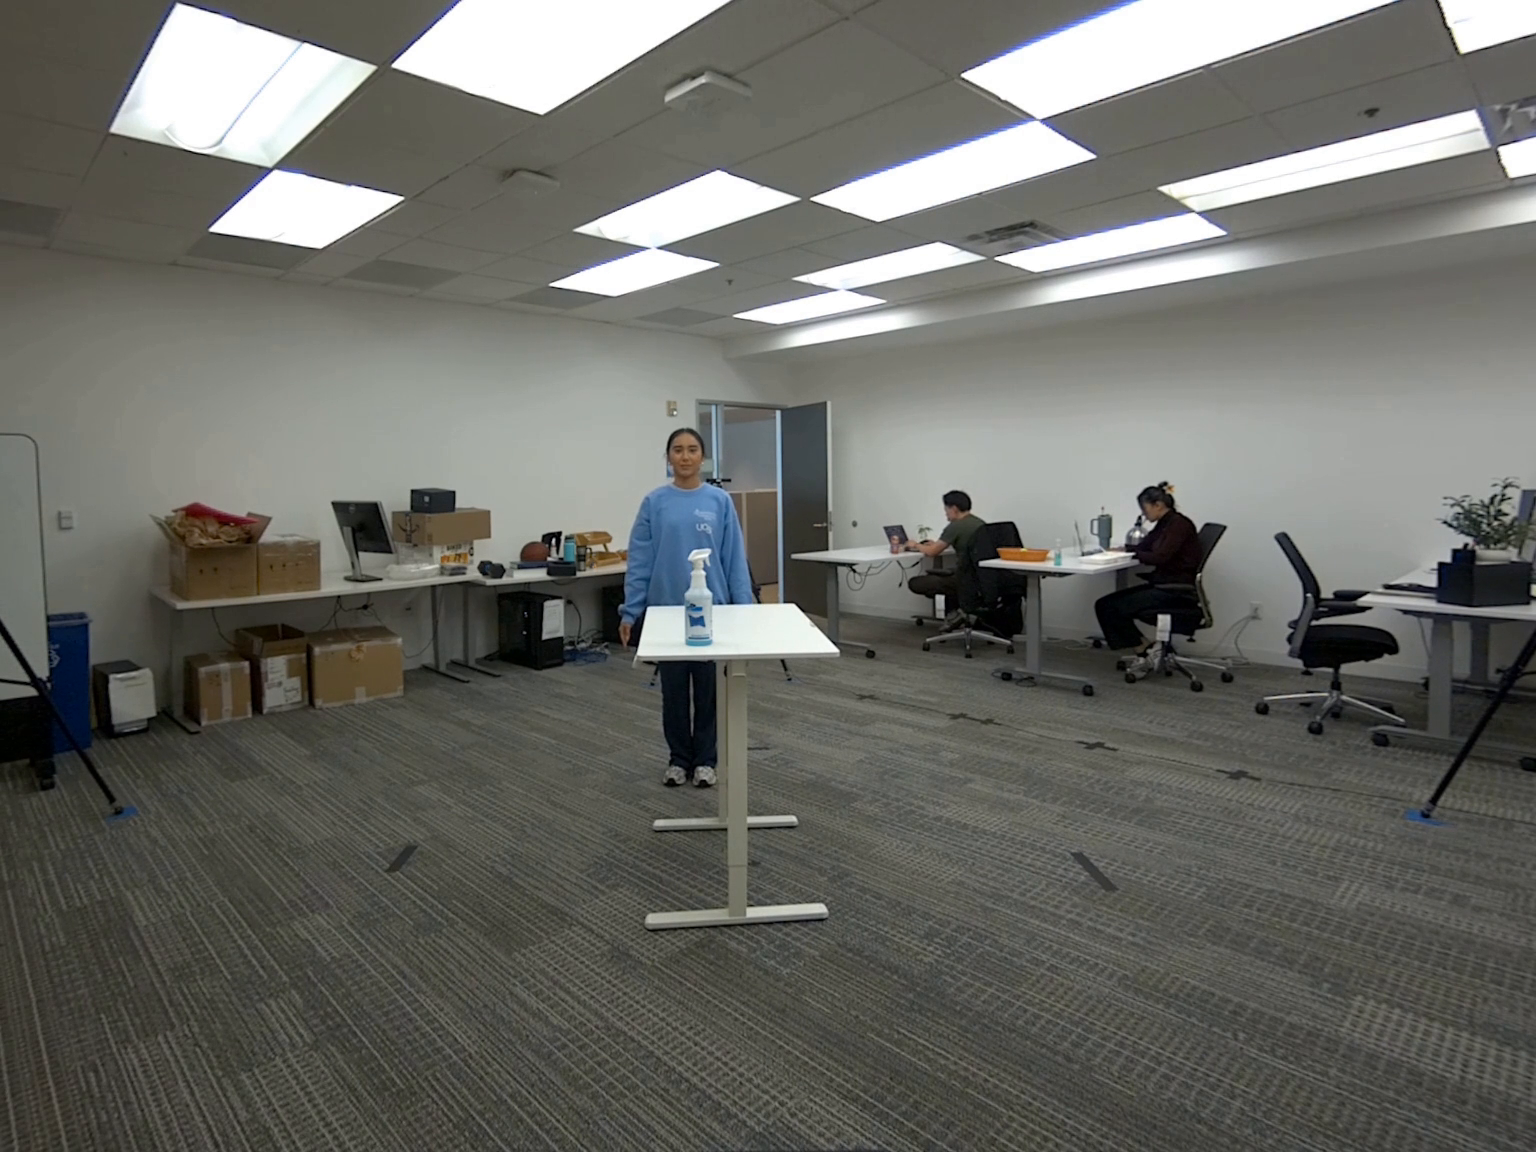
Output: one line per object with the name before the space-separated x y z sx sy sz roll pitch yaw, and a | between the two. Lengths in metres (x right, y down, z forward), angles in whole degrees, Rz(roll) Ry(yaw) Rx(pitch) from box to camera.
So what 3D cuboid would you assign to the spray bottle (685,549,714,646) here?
spray bottle | -0.217 0.069 2.671 0.088 0.296 0.089 0 3 -20
